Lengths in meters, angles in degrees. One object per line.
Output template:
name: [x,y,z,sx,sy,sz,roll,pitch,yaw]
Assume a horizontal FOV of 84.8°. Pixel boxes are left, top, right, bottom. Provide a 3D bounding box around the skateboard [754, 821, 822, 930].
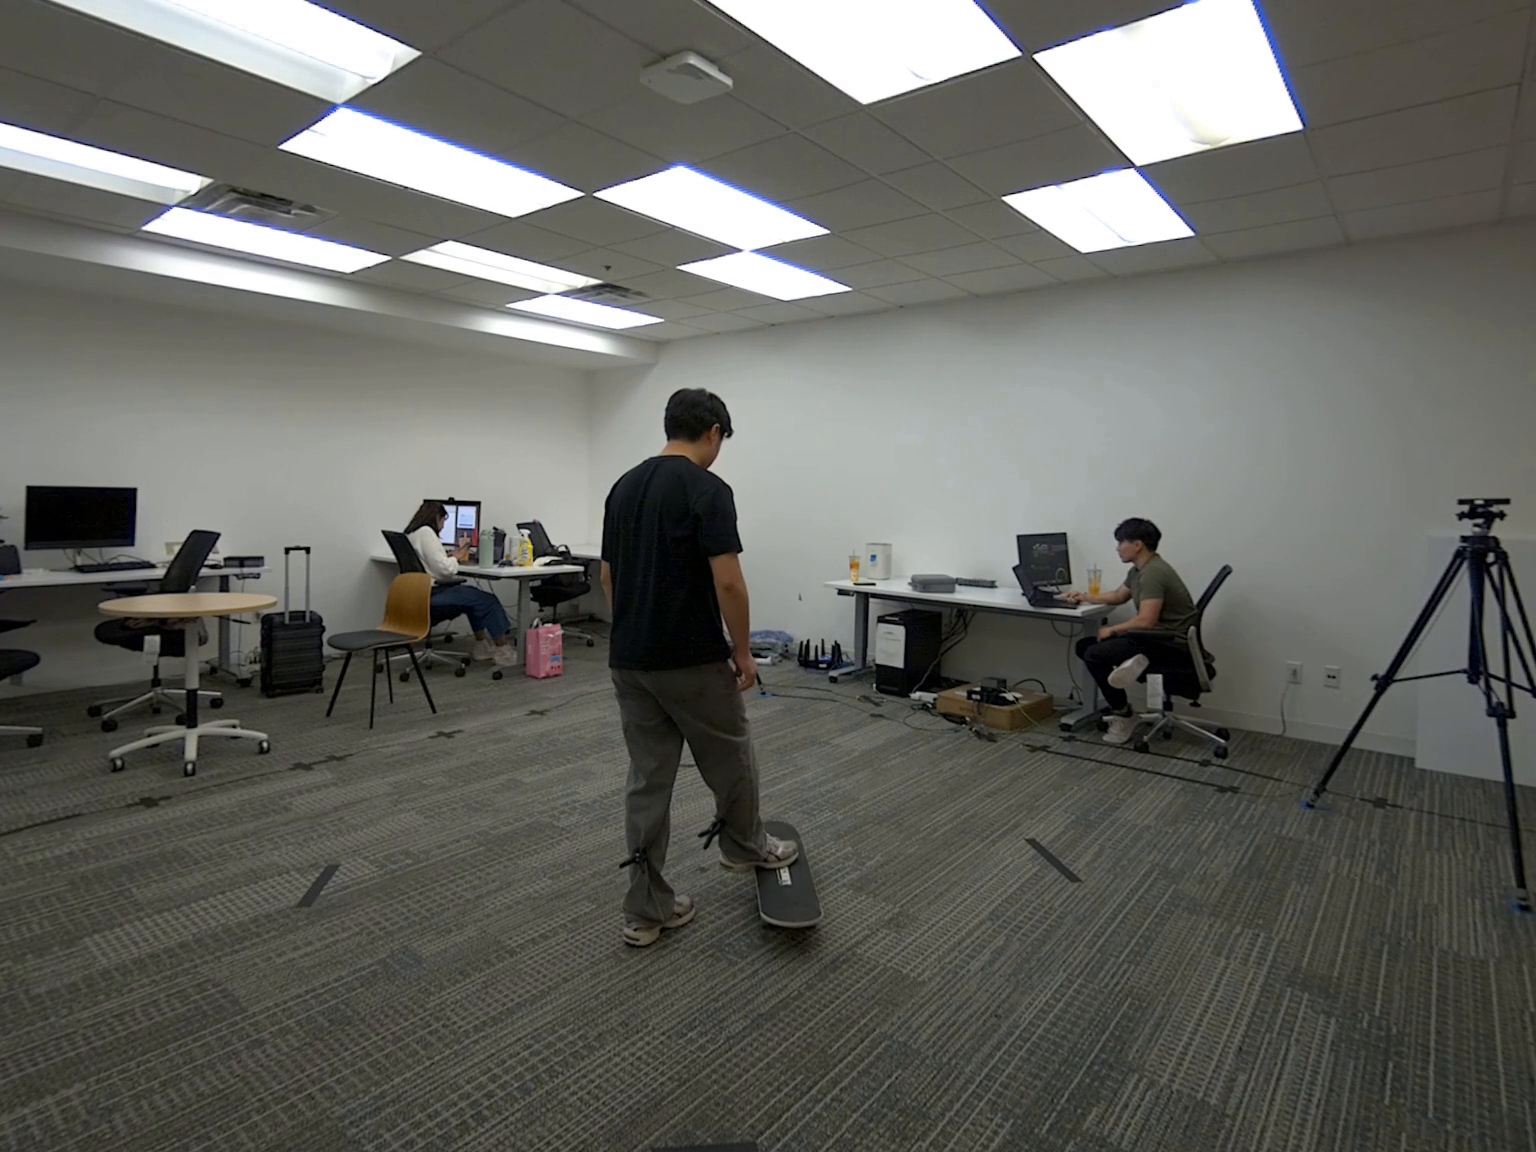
skateboard: [0.041,1.035,2.910,0.193,0.110,0.790,0,6,-4]
